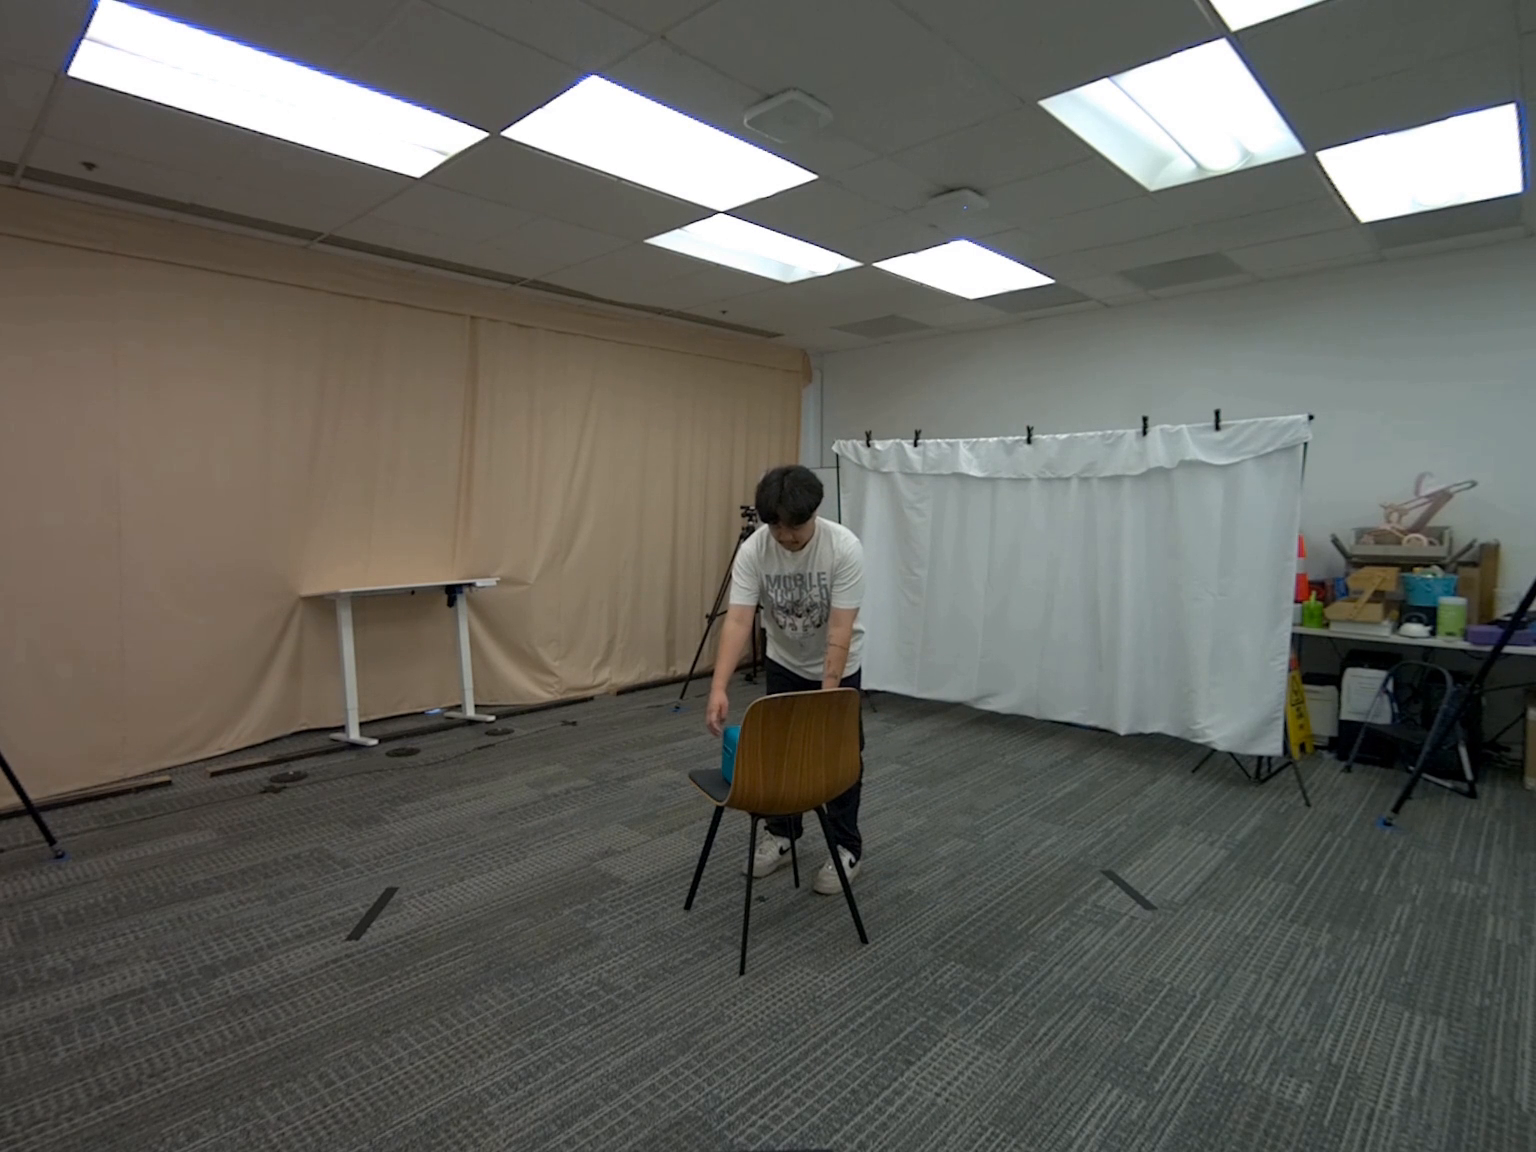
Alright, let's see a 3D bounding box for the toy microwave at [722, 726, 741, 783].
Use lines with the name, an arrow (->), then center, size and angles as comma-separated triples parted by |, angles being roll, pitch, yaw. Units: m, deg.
toy microwave -> 0.000, 0.592, 2.772 | 0.280, 0.183, 0.156 | -1, 8, -20
